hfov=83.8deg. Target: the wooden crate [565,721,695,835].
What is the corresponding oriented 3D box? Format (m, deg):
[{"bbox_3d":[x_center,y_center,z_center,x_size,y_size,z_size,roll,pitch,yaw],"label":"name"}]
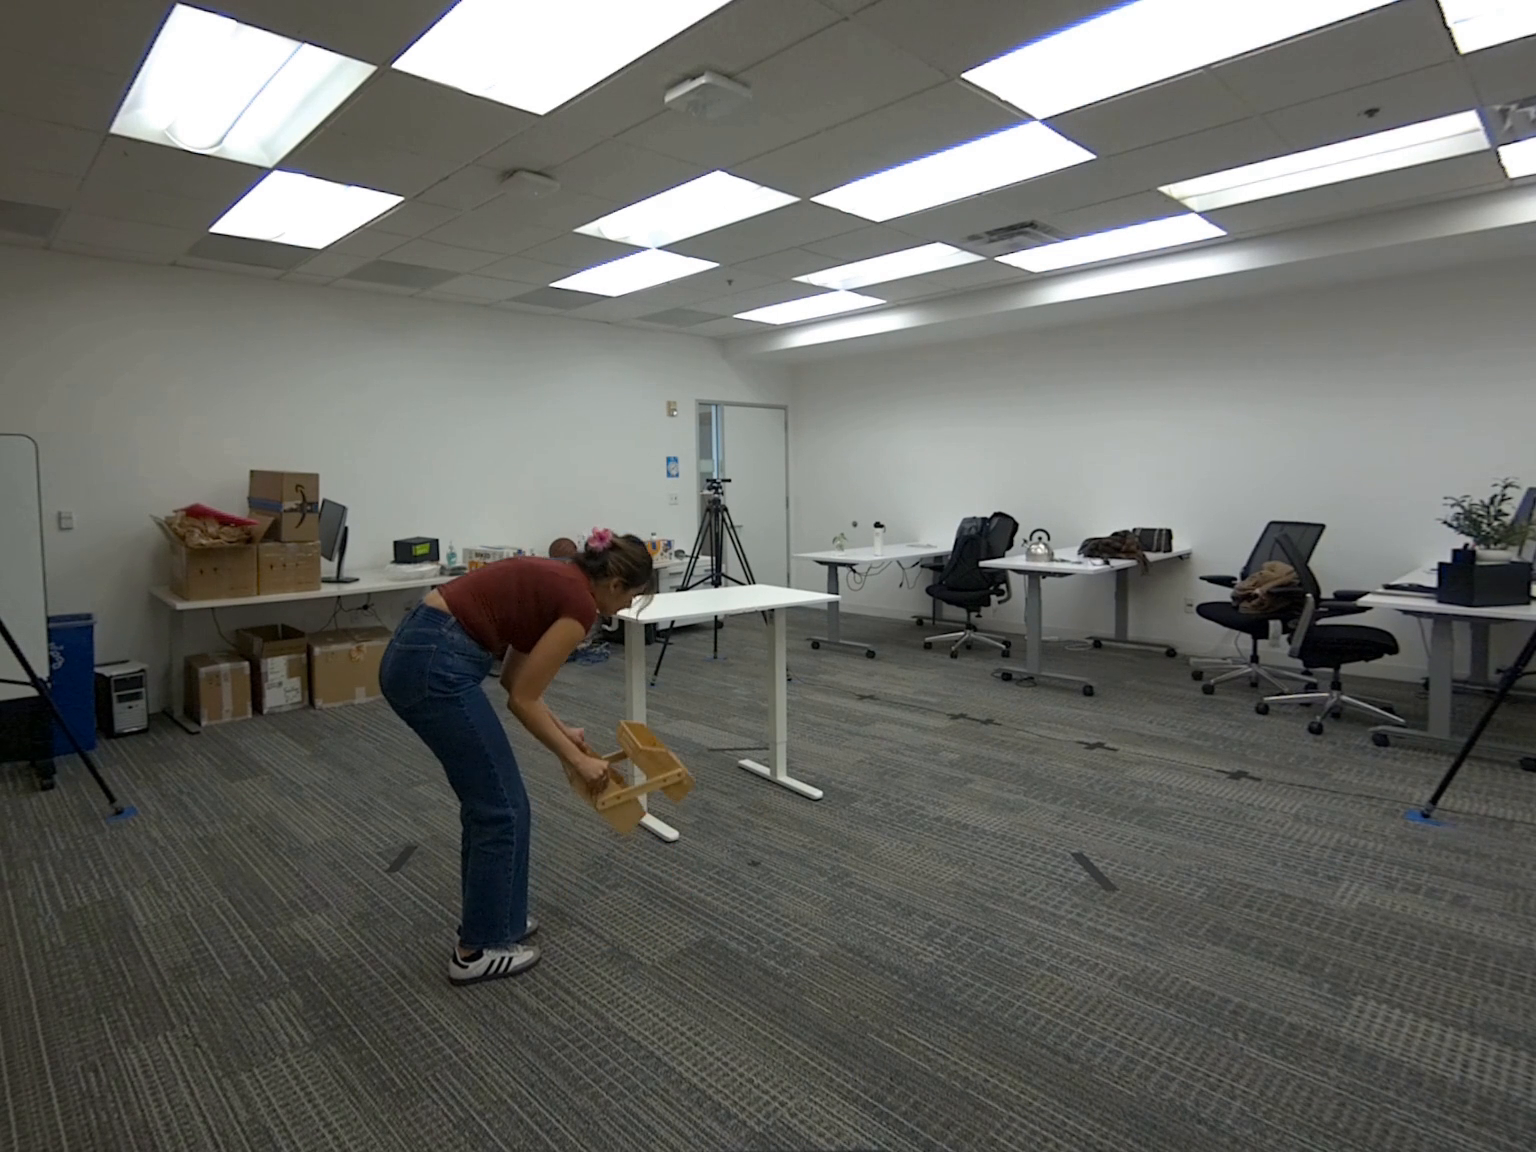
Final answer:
[{"bbox_3d":[-0.447,0.594,2.665,0.295,0.273,0.332,45,-8,-20],"label":"wooden crate"}]
